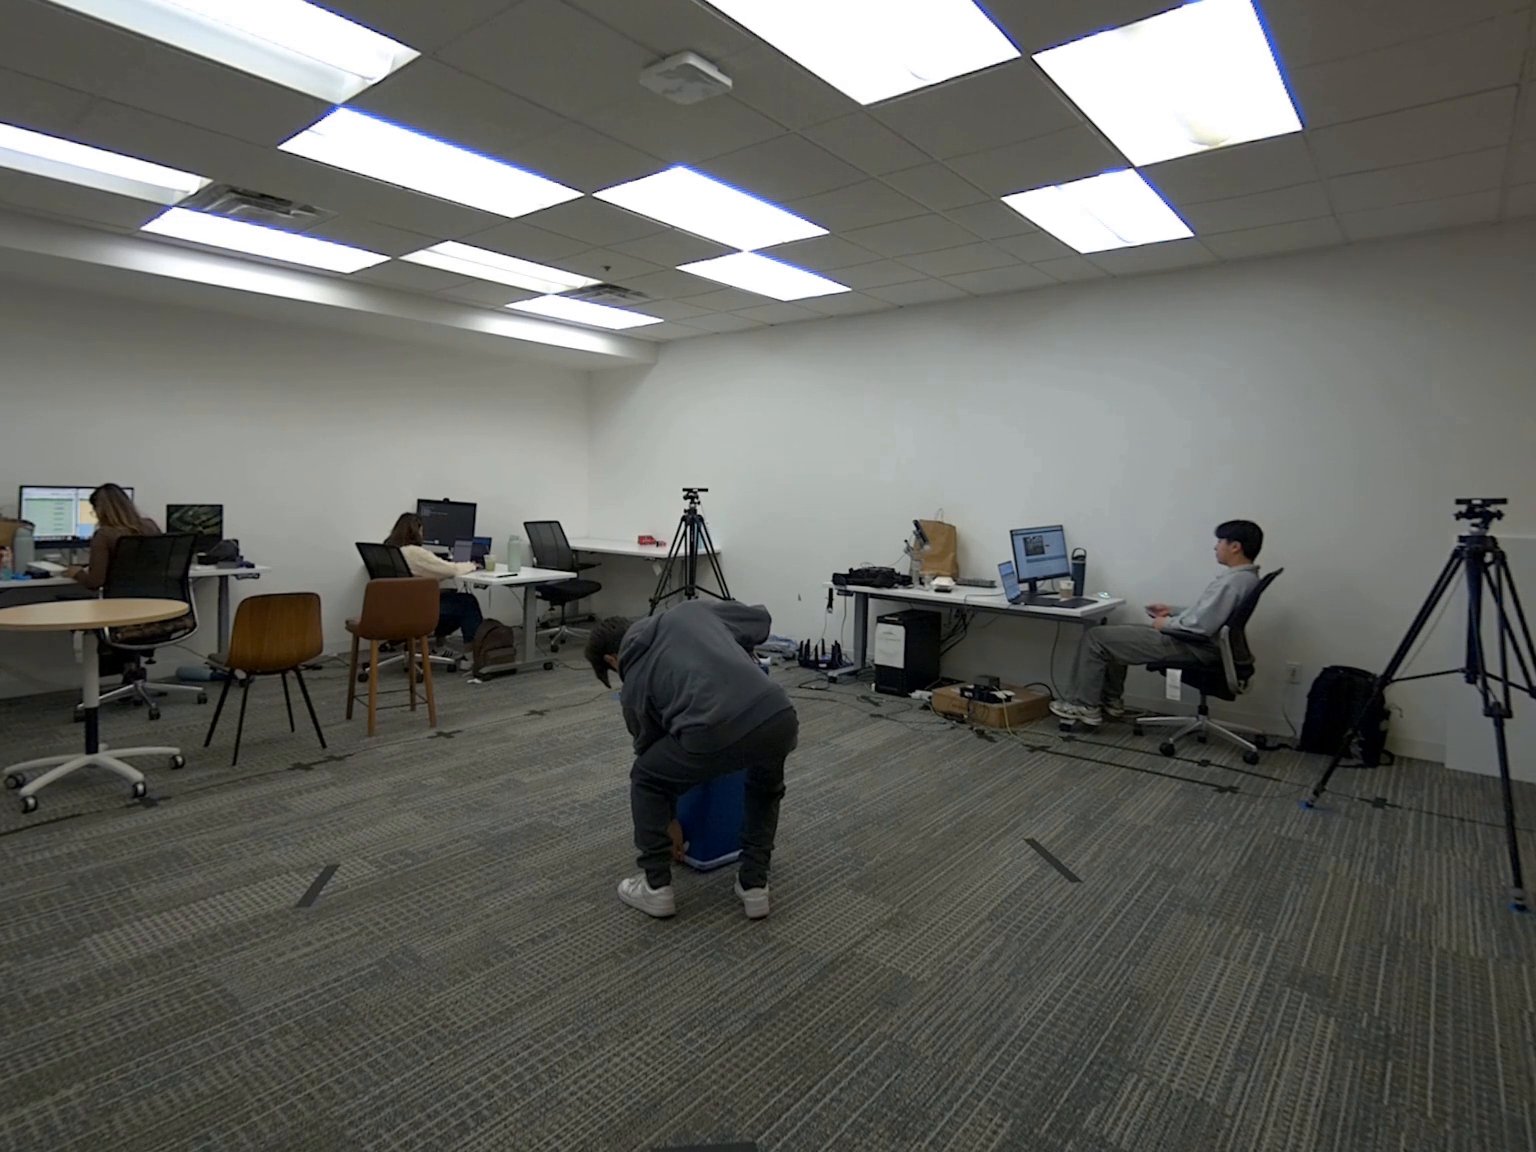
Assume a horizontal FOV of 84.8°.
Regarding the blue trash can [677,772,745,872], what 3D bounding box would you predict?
[{"bbox_3d":[-0.231,0.686,3.309,0.391,0.714,0.361,3,-1,45],"label":"blue trash can"}]
